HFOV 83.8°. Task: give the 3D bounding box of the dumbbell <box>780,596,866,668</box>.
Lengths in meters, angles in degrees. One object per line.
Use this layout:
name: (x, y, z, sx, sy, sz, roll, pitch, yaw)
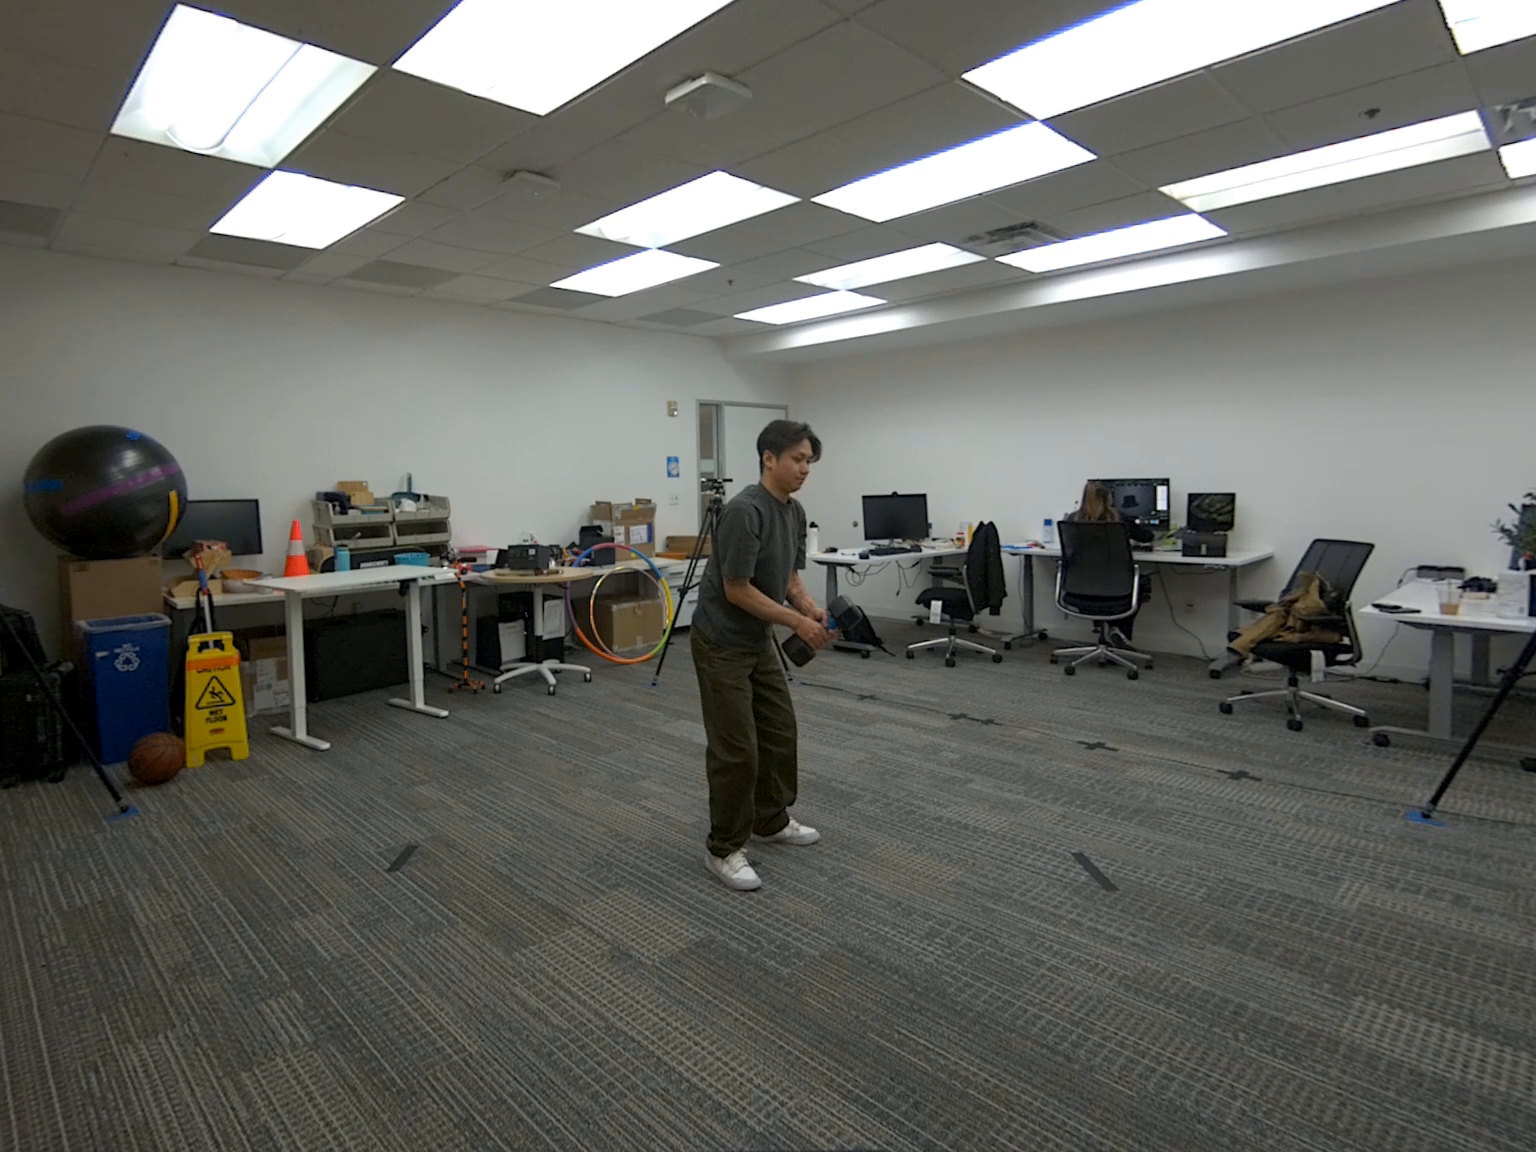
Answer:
dumbbell: (0.195, 0.189, 2.988, 0.294, 0.120, 0.111, -41, 18, 8)
